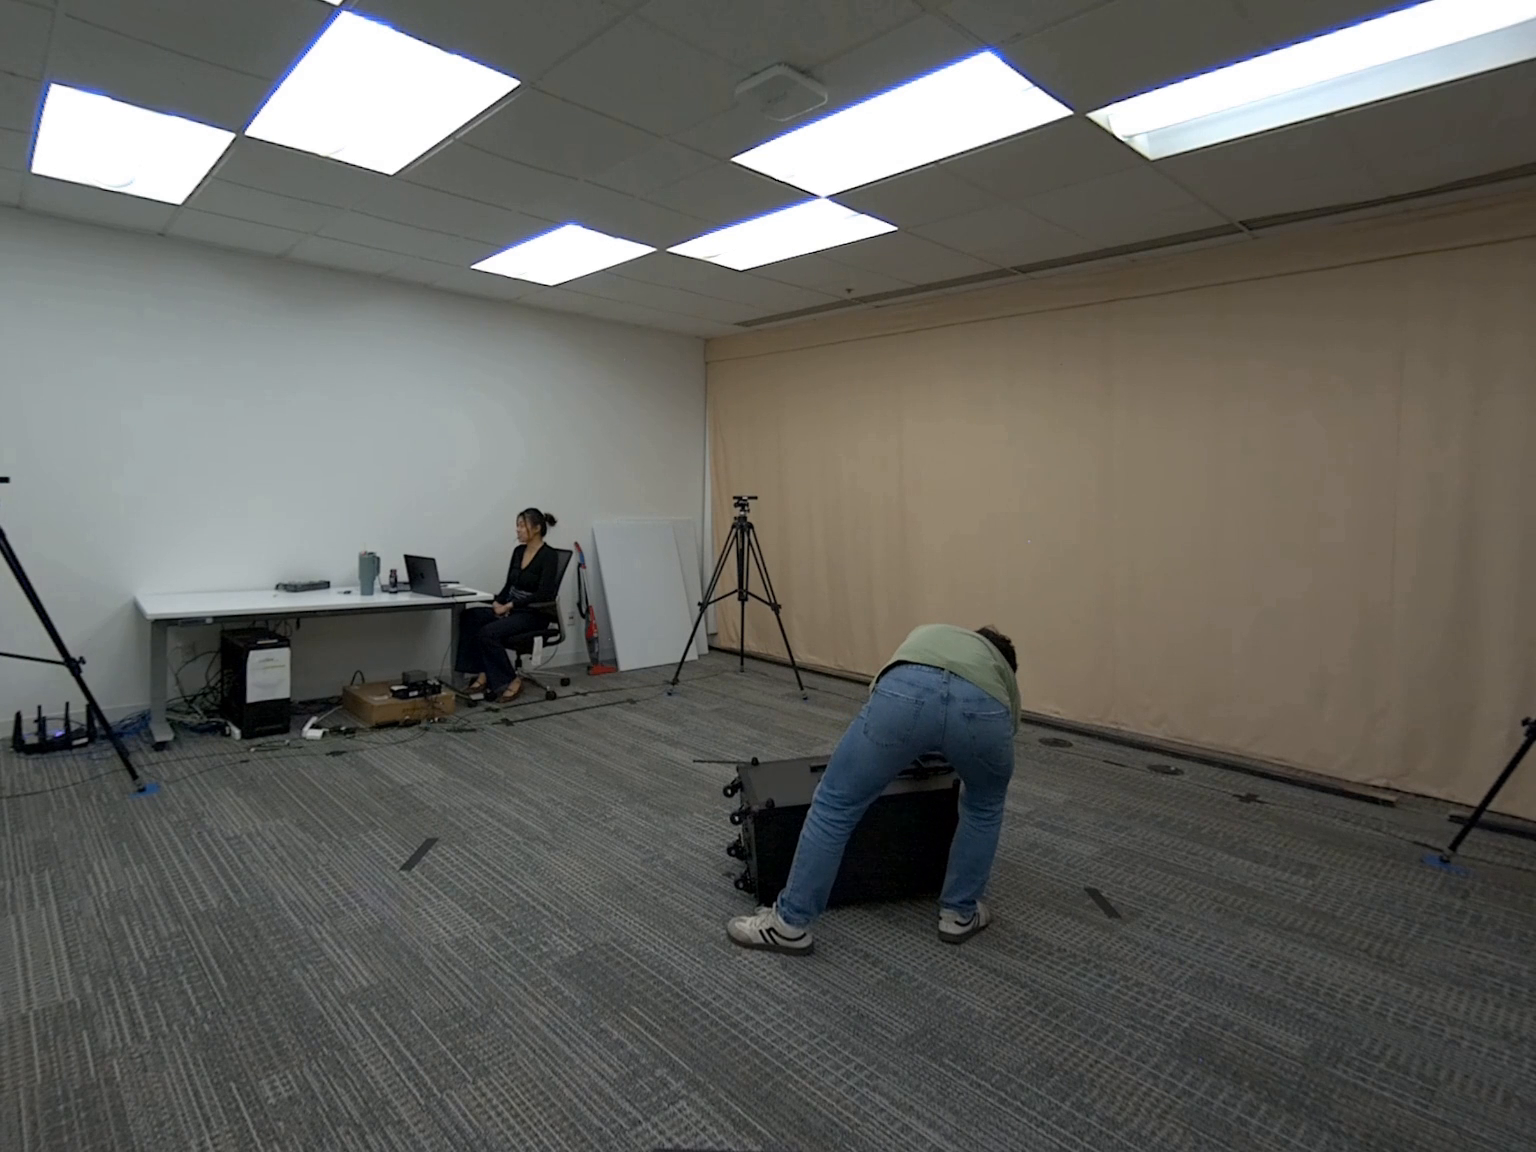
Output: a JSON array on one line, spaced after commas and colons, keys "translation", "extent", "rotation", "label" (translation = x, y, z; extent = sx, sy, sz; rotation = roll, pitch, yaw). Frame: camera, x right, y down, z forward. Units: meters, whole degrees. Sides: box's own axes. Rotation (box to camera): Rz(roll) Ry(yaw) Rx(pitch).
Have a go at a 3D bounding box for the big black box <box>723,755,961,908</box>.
[{"translation": [0.270, 0.888, 3.076], "extent": [0.858, 0.395, 0.525], "rotation": [-5, 6, -6], "label": "big black box"}]
